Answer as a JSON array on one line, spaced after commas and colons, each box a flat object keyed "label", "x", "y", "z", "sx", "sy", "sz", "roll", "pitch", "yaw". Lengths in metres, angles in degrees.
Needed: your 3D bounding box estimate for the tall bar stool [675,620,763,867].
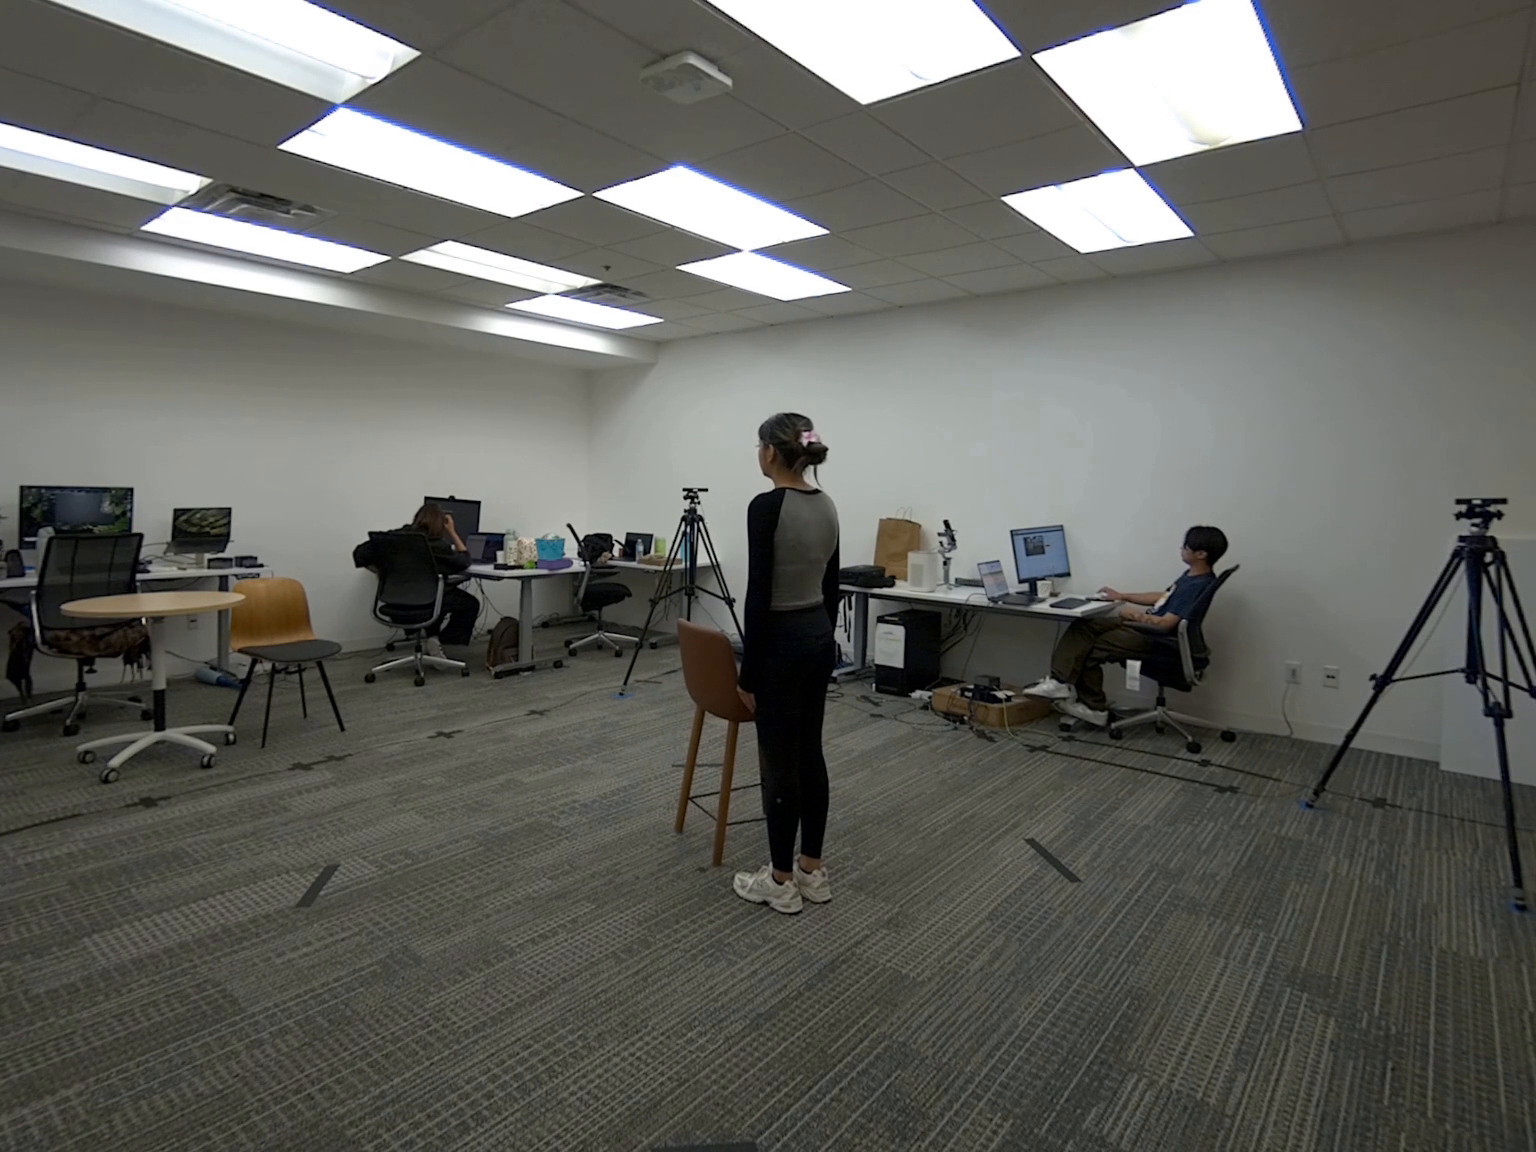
[{"label": "tall bar stool", "x": -0.101, "y": 0.611, "z": 3.372, "sx": 0.456, "sy": 0.886, "sz": 0.470, "roll": -2, "pitch": 5, "yaw": -29}]
